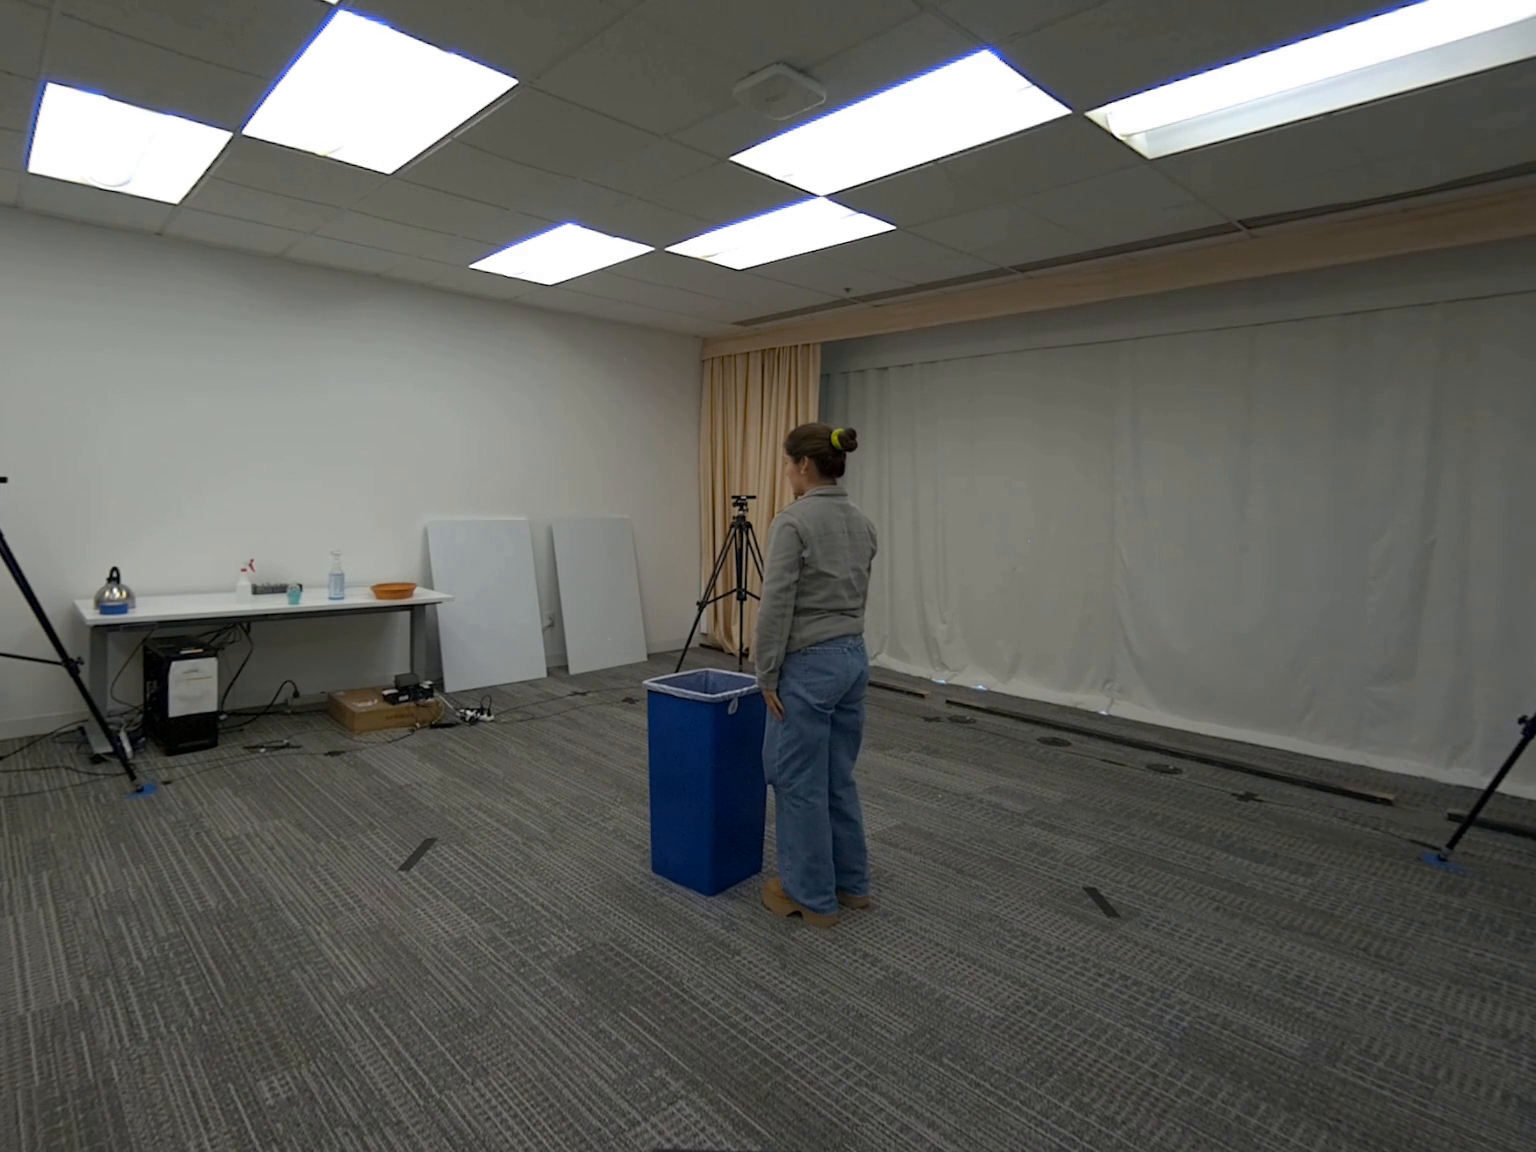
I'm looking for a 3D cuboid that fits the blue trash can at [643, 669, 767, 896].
[{"bbox_3d":[-0.233,0.741,3.113,0.383,0.712,0.370,5,5,39],"label":"blue trash can"}]
